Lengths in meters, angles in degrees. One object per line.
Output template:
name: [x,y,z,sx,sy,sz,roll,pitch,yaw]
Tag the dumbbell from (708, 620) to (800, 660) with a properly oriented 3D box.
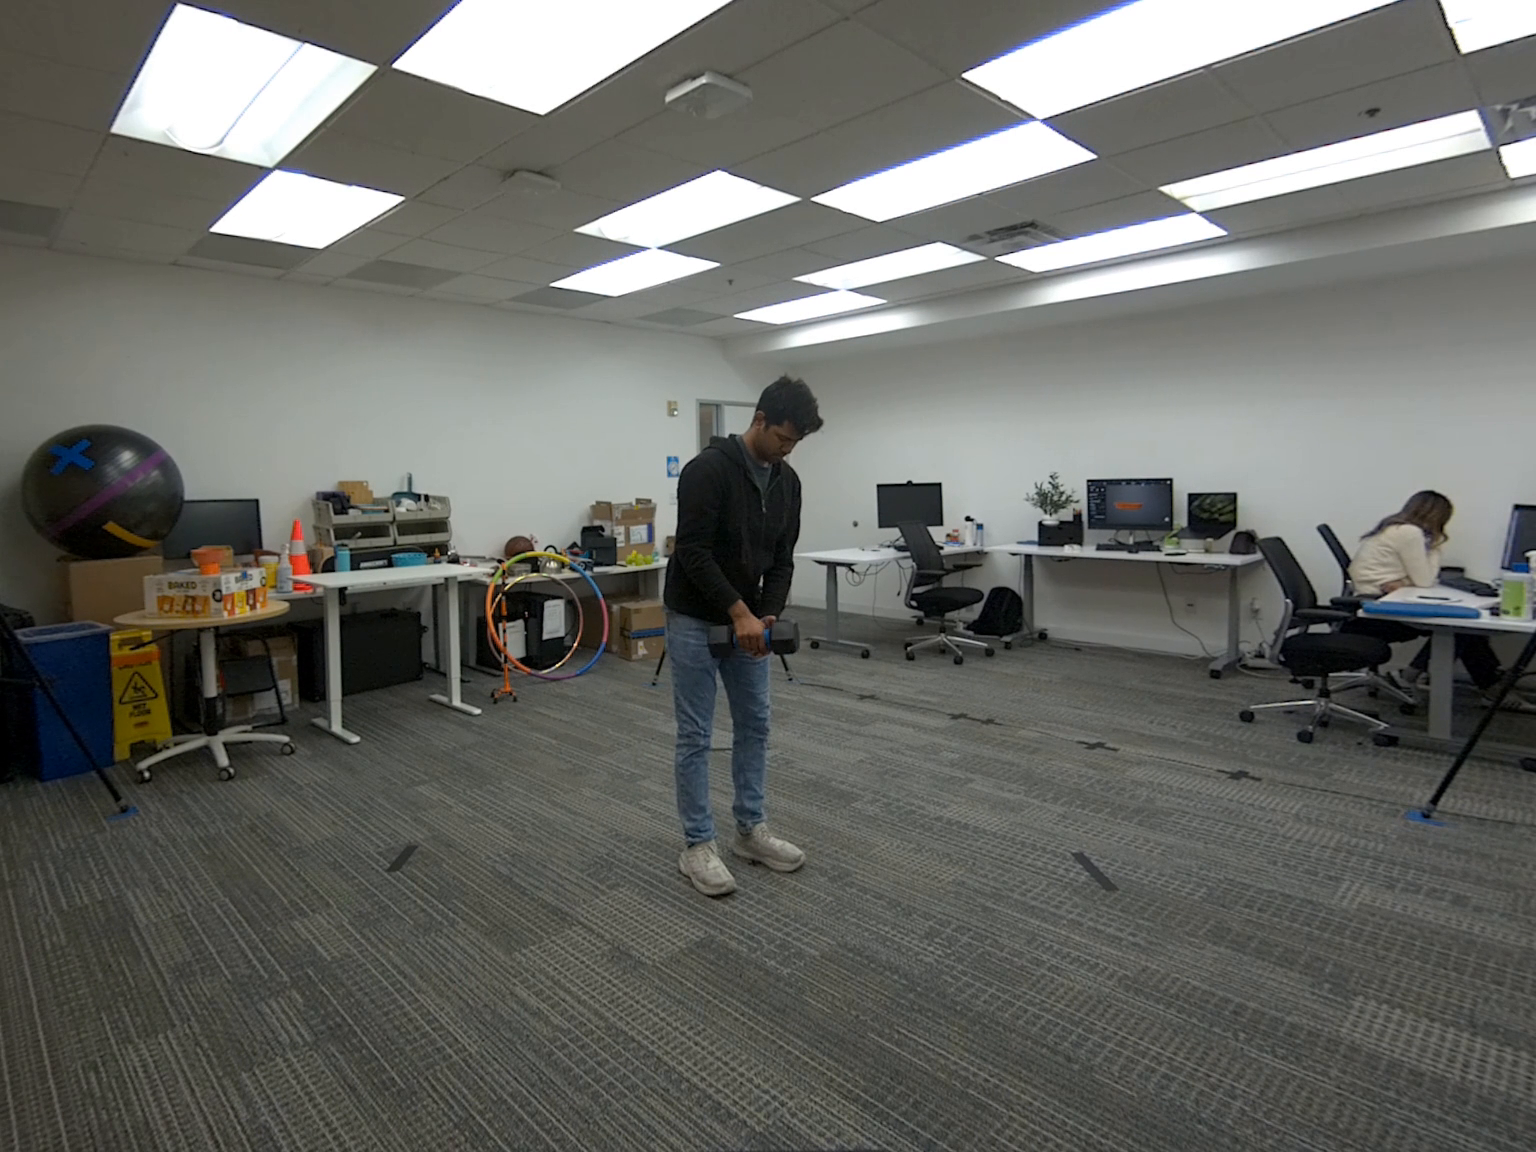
dumbbell: [-0.049,0.208,2.803,0.297,0.125,0.105,-4,-28,14]
